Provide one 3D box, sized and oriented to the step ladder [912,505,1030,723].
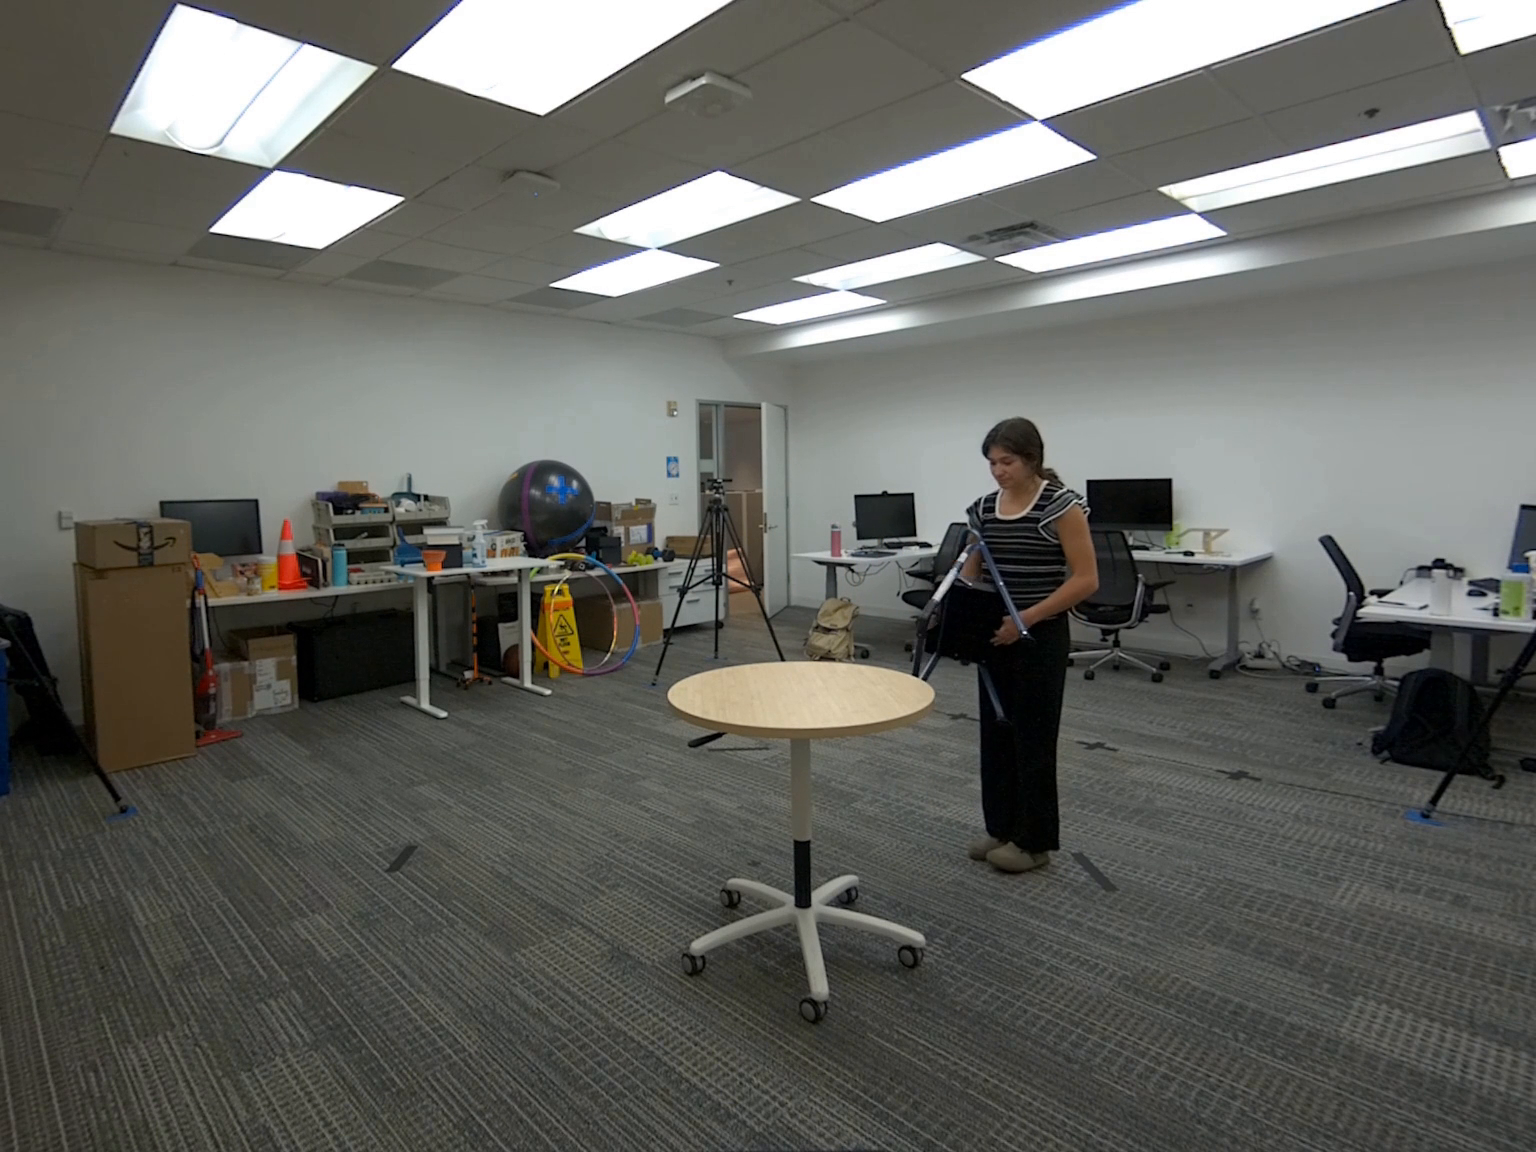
[{"bbox_3d":[0.726,0.127,3.012,0.354,0.419,0.614,11,42,10],"label":"step ladder"}]
